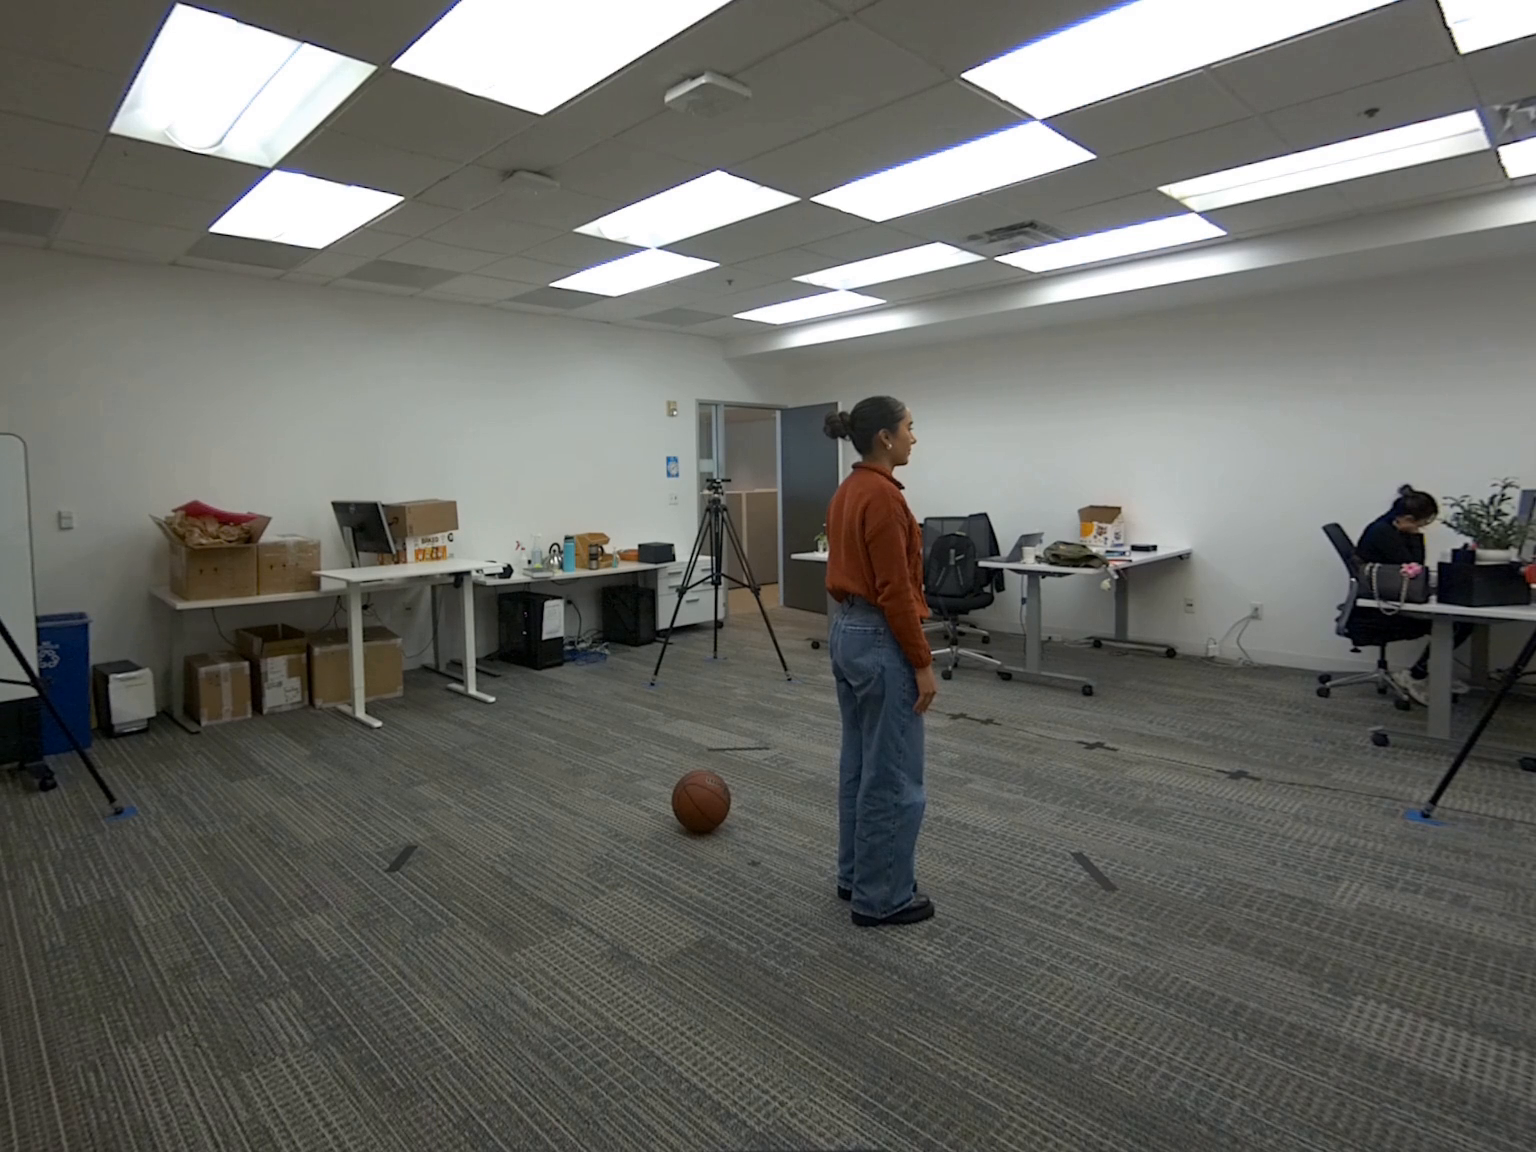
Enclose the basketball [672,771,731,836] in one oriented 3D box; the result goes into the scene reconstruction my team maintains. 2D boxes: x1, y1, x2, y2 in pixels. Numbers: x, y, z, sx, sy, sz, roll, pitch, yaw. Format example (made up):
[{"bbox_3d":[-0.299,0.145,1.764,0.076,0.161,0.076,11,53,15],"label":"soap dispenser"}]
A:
[{"bbox_3d":[-0.262,0.889,3.405,0.236,0.235,0.237,-1,5,-2],"label":"basketball"}]
